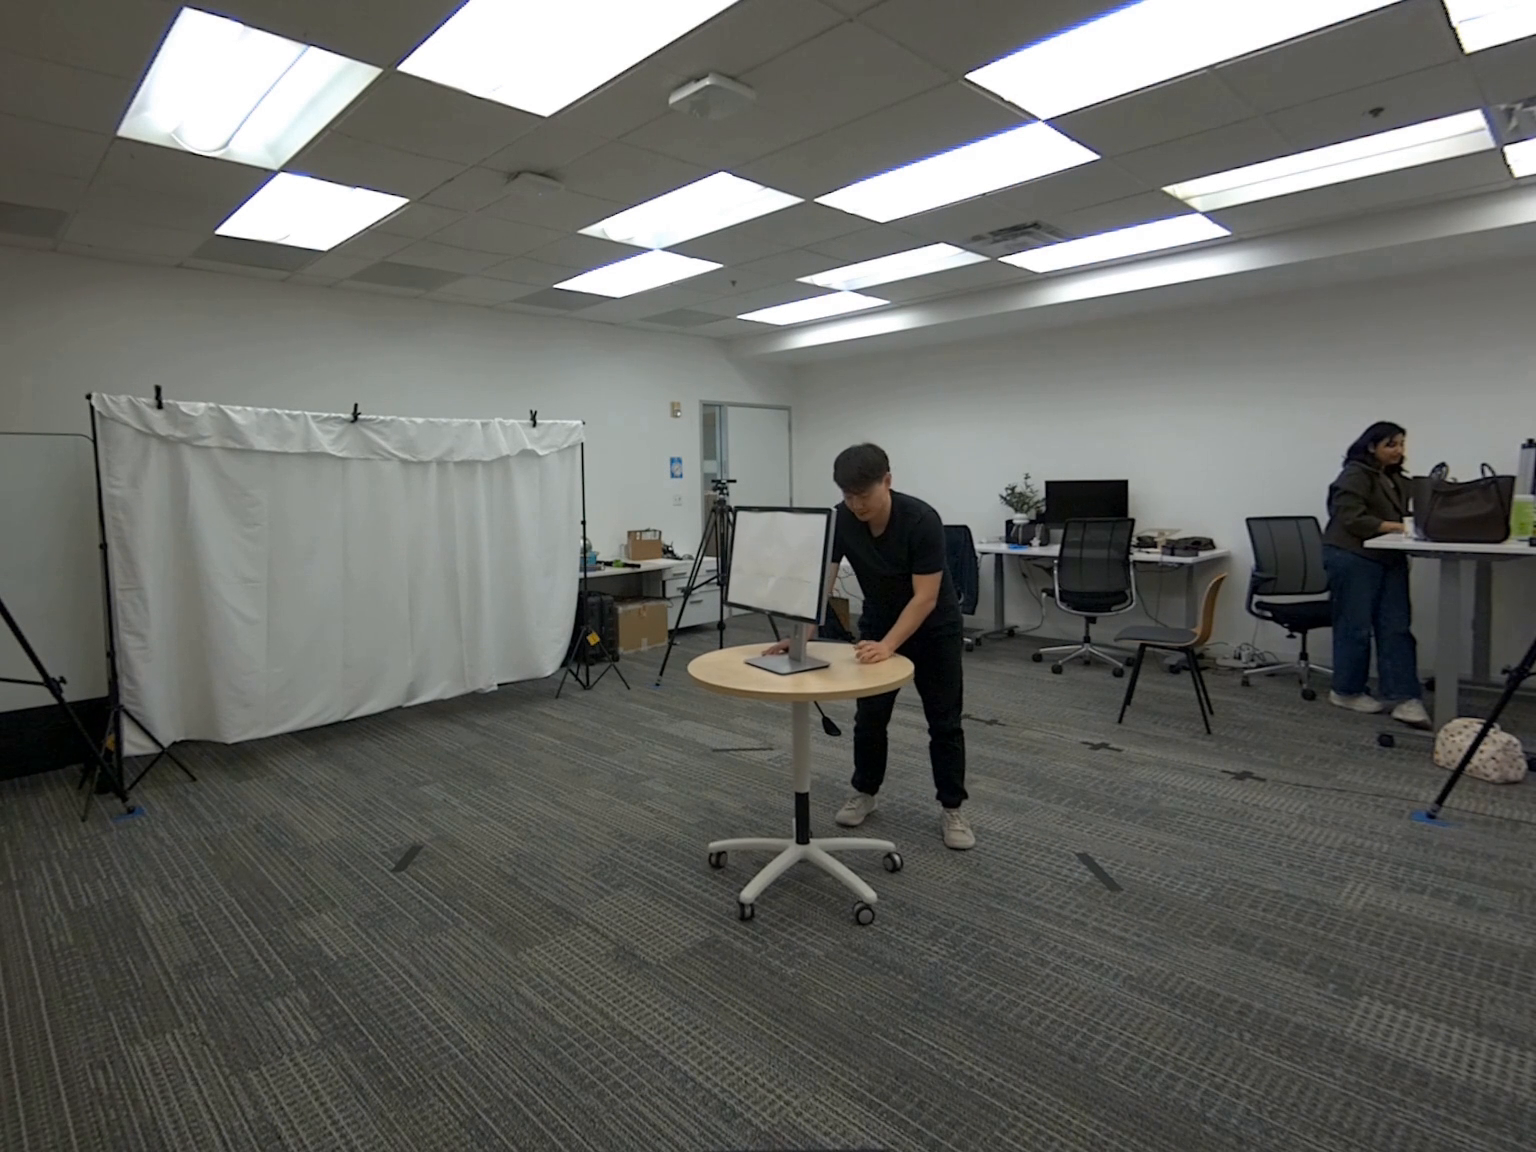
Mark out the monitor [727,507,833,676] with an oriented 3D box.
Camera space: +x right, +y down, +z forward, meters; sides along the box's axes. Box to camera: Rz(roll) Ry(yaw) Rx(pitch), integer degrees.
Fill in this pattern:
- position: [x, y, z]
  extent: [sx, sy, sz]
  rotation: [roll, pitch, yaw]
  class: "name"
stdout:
- position: [0.062, 0.039, 2.888]
  extent: [0.182, 0.520, 0.555]
  rotation: [-6, 6, -34]
  class: "monitor"
